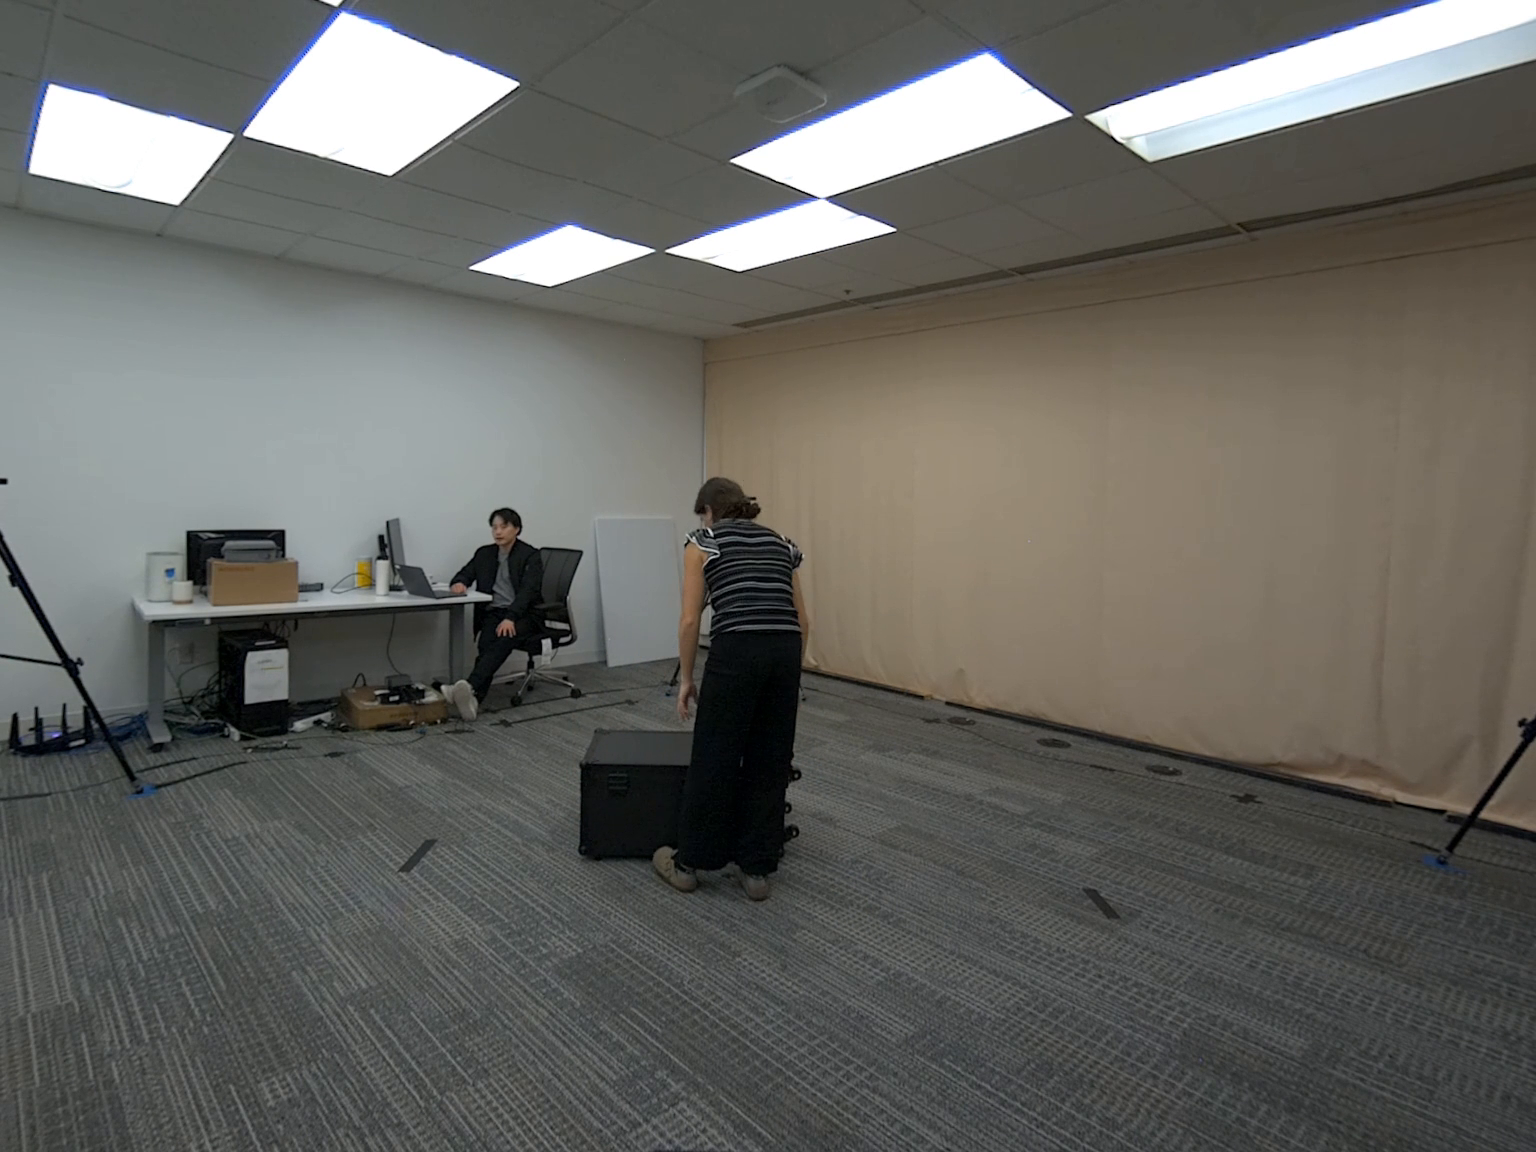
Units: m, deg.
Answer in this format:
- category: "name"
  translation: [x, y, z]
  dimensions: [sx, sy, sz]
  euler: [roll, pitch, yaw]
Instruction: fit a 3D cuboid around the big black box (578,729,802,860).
- category: "big black box"
  translation: [-0.315, 0.878, 3.432]
  dimensions: [0.859, 0.395, 0.524]
  euler: [1, 5, -3]
